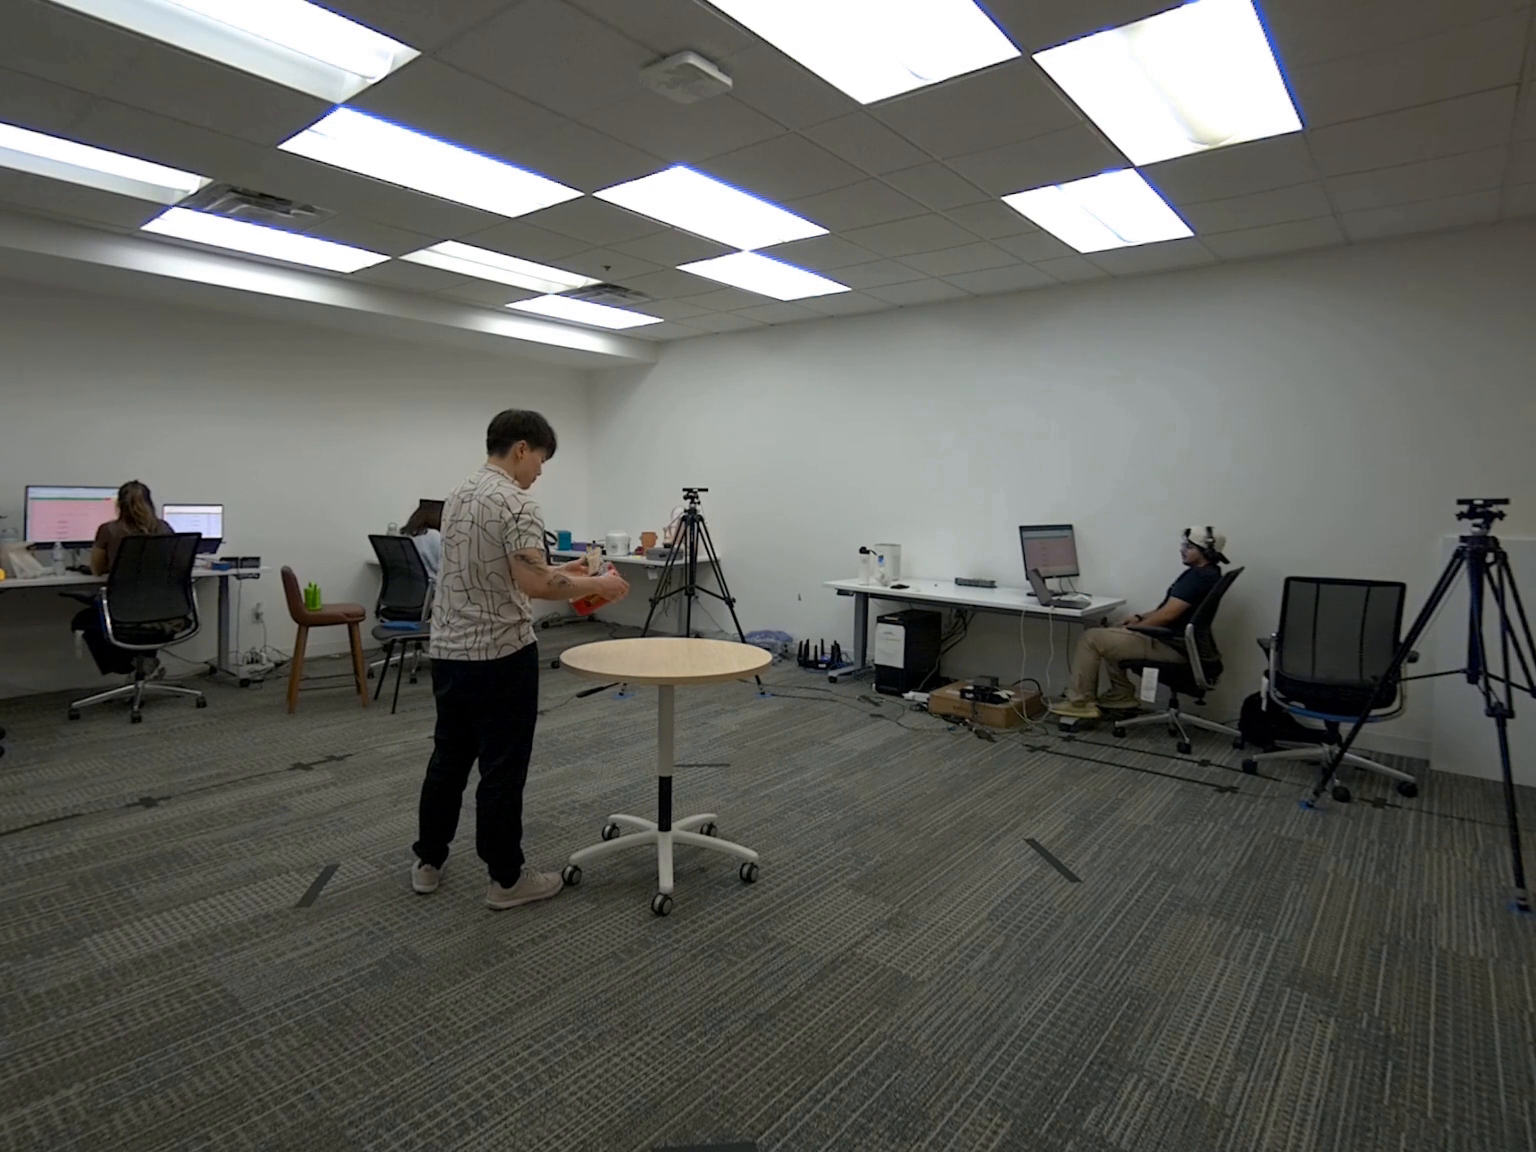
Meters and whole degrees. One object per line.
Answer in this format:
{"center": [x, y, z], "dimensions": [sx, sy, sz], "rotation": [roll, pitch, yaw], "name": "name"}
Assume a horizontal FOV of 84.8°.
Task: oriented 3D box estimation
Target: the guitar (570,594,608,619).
{"center": [-0.609, -0.008, 3.095], "dimensions": [0.194, 0.069, 0.508], "rotation": [-29, 22, 8], "name": "guitar"}
